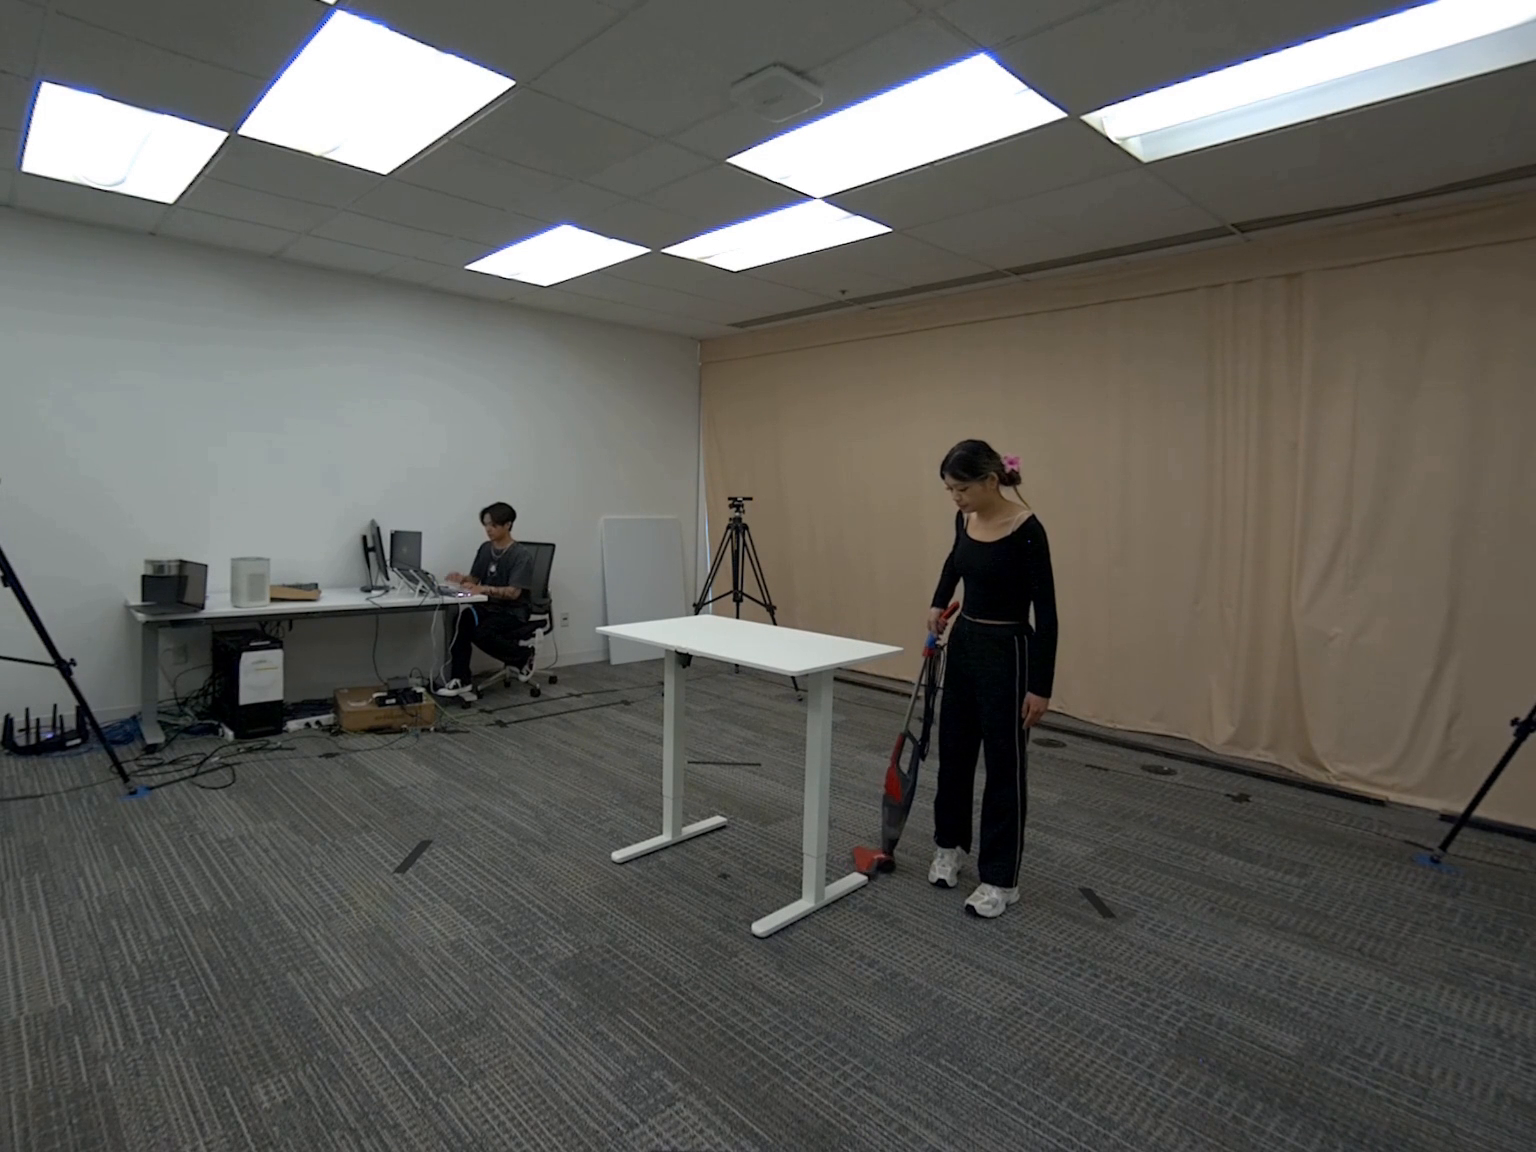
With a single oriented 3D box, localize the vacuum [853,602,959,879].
[{"bbox_3d":[0.559,0.604,3.206,0.144,1.049,0.252,18,1,1],"label":"vacuum"}]
